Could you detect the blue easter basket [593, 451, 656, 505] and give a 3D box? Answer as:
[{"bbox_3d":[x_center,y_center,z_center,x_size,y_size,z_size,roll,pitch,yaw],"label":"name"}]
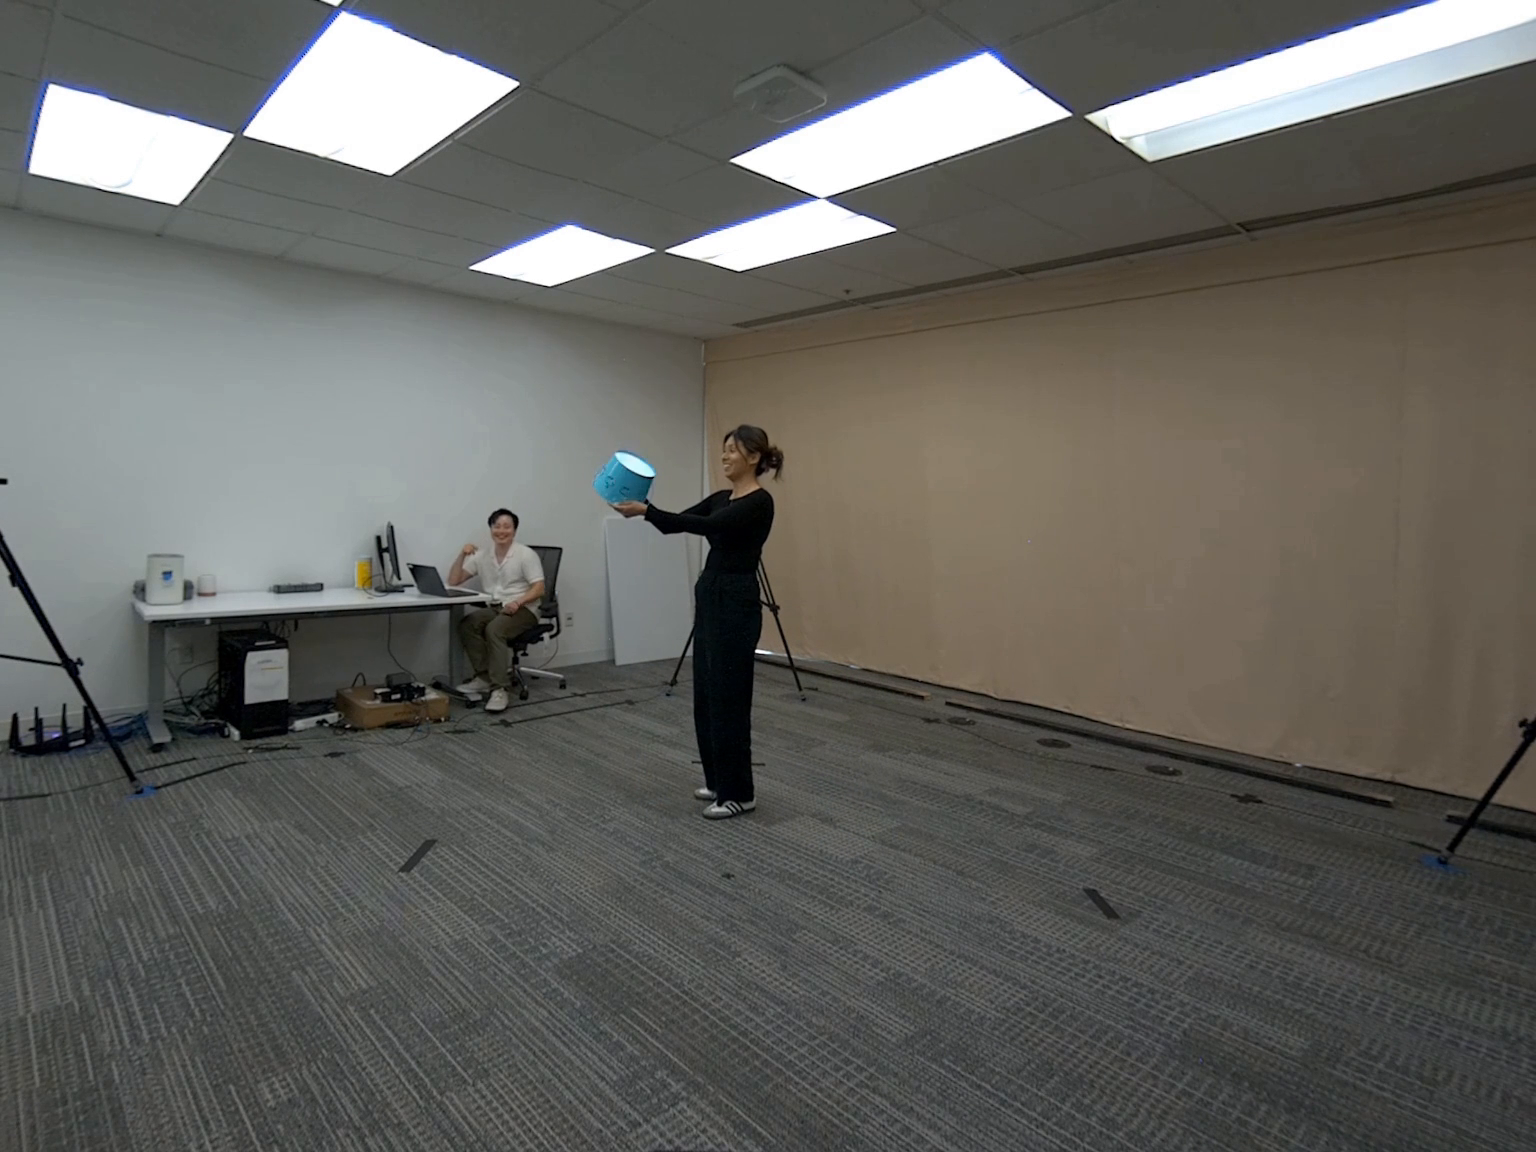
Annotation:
[{"bbox_3d":[-0.583,-0.394,3.393,0.240,0.155,0.248,28,22,-14],"label":"blue easter basket"}]
